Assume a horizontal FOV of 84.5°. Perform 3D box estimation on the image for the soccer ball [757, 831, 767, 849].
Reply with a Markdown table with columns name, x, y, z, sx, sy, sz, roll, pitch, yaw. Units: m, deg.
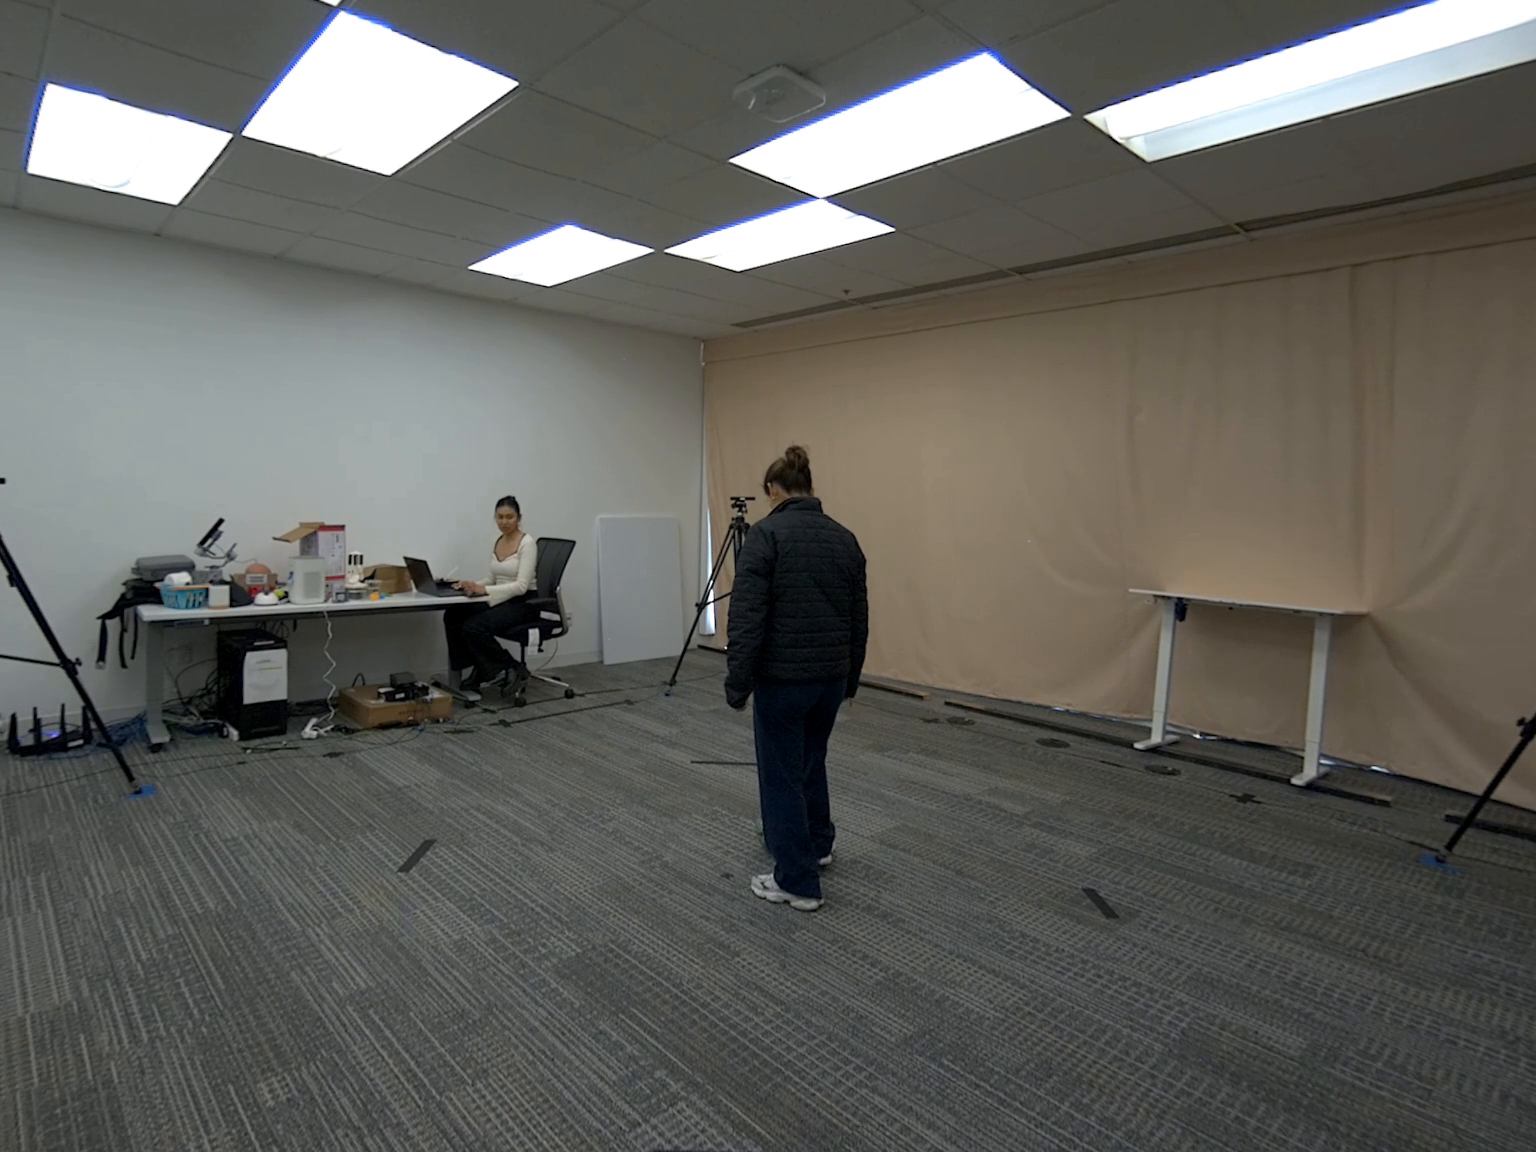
| name | x | y | z | sx | sy | sz | roll | pitch | yaw |
| --- | --- | --- | --- | --- | --- | --- | --- | --- | --- |
| soccer ball | 0.042 | 1.002 | 3.316 | 0.187 | 0.187 | 0.188 | 1 | 4 | -1 |
